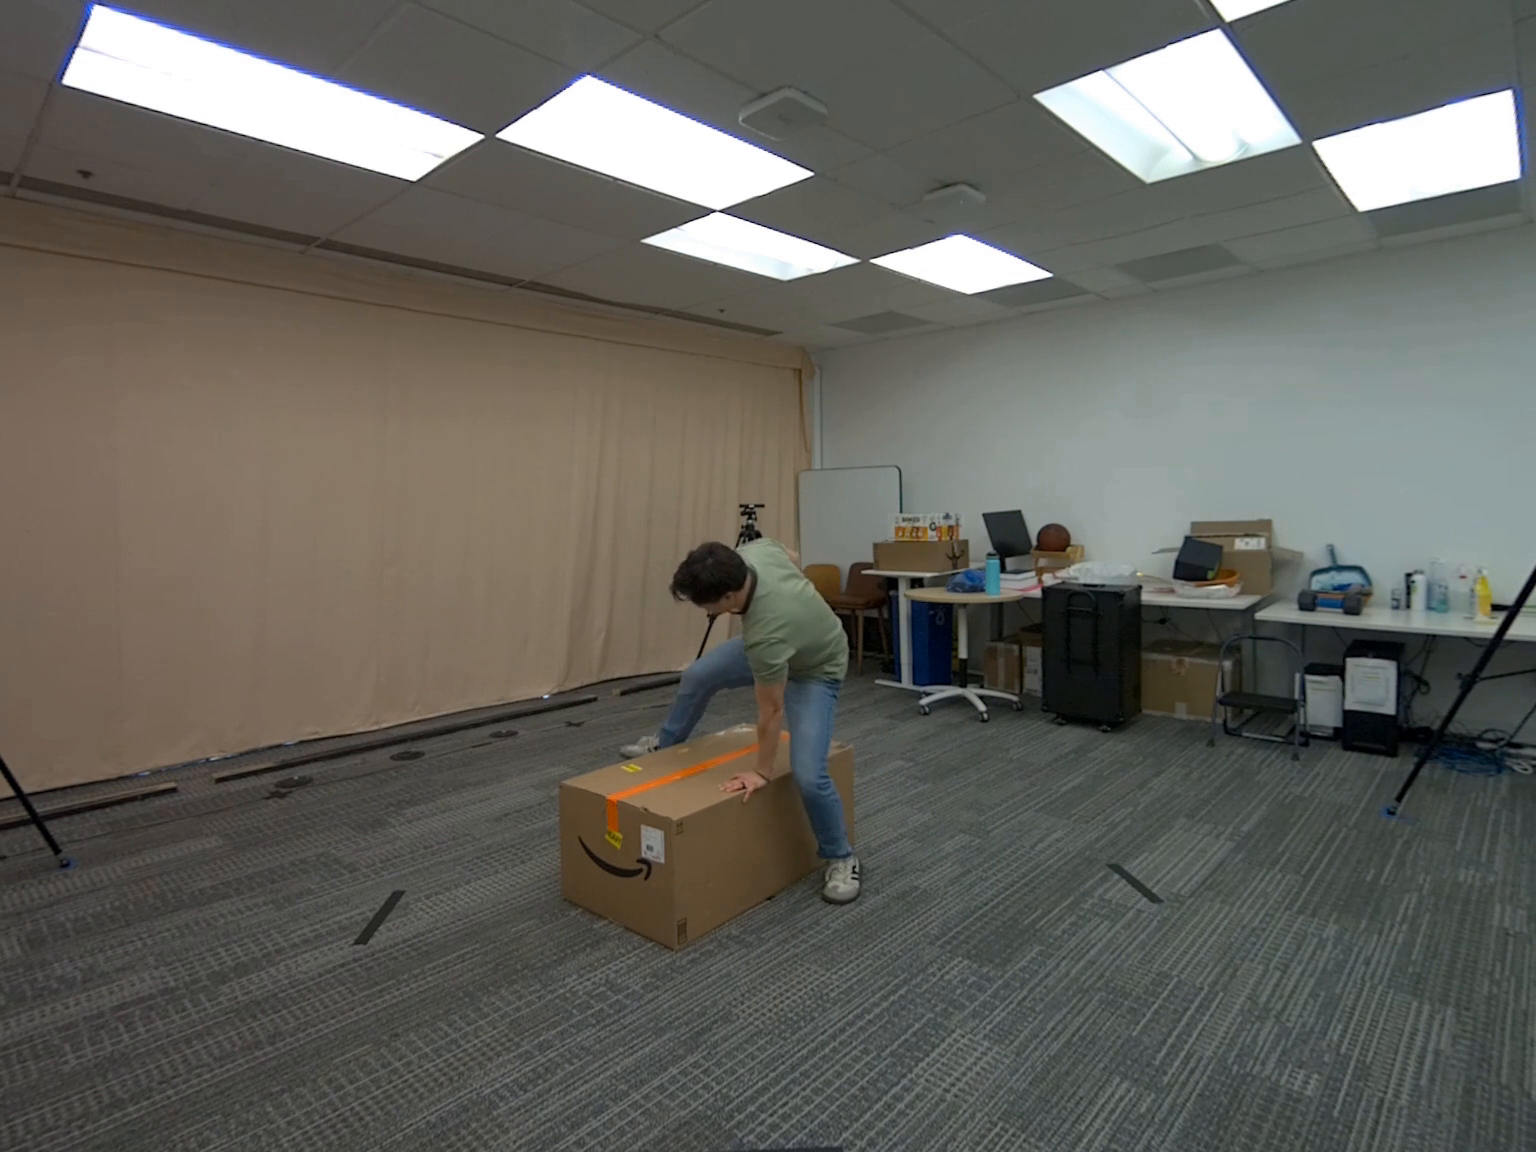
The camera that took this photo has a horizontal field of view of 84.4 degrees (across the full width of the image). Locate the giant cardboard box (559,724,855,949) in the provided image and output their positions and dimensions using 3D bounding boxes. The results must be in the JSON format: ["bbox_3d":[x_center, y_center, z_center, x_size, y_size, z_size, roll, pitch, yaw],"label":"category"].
[{"bbox_3d":[-0.196,0.914,3.185,0.596,0.425,0.995,2,6,40],"label":"giant cardboard box"}]
